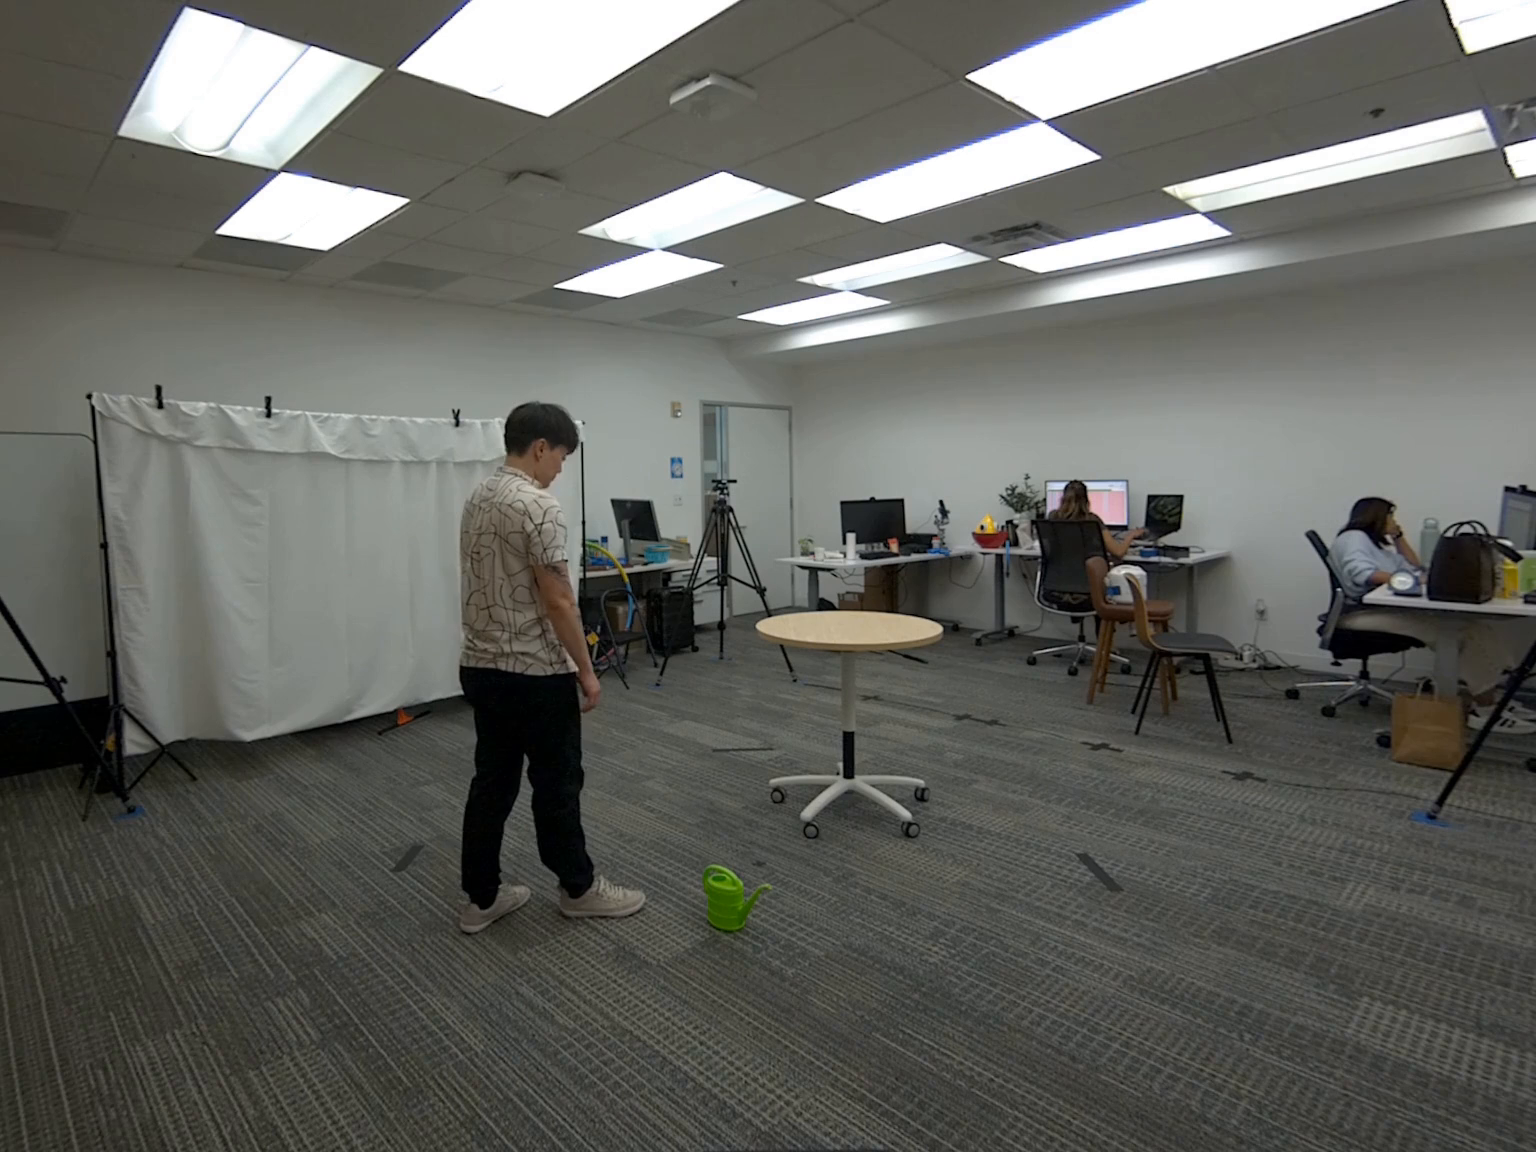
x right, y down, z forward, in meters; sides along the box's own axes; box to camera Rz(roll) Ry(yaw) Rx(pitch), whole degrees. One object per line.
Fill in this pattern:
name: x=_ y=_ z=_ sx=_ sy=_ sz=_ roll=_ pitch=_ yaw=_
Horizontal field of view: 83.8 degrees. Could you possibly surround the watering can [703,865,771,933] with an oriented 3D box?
watering can: x=-0.107 y=1.010 z=2.656 sx=0.095 sy=0.176 sz=0.287 roll=-6 pitch=8 yaw=-36
